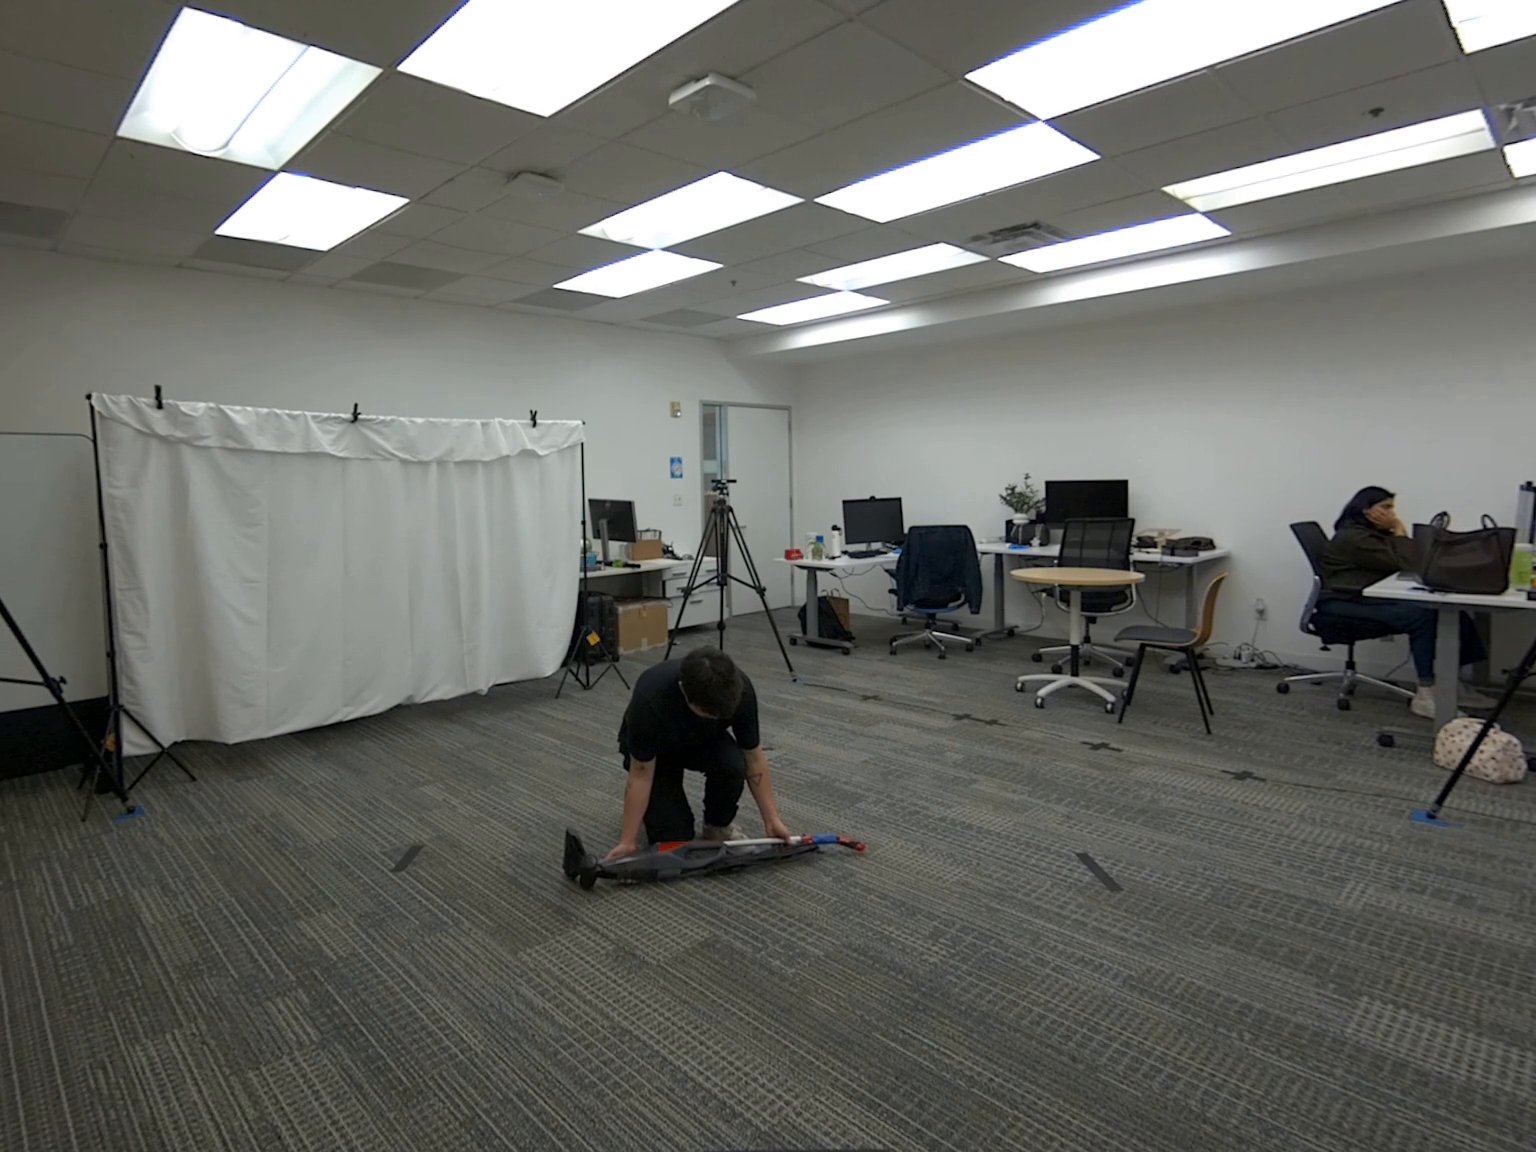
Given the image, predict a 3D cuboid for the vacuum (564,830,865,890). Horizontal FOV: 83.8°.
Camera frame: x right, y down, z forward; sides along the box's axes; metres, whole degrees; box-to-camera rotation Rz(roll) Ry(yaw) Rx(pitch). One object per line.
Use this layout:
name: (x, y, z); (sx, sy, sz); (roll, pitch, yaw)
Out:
vacuum: (-0.158, 0.987, 3.053); (1.036, 0.247, 0.149); (1, 38, -13)
